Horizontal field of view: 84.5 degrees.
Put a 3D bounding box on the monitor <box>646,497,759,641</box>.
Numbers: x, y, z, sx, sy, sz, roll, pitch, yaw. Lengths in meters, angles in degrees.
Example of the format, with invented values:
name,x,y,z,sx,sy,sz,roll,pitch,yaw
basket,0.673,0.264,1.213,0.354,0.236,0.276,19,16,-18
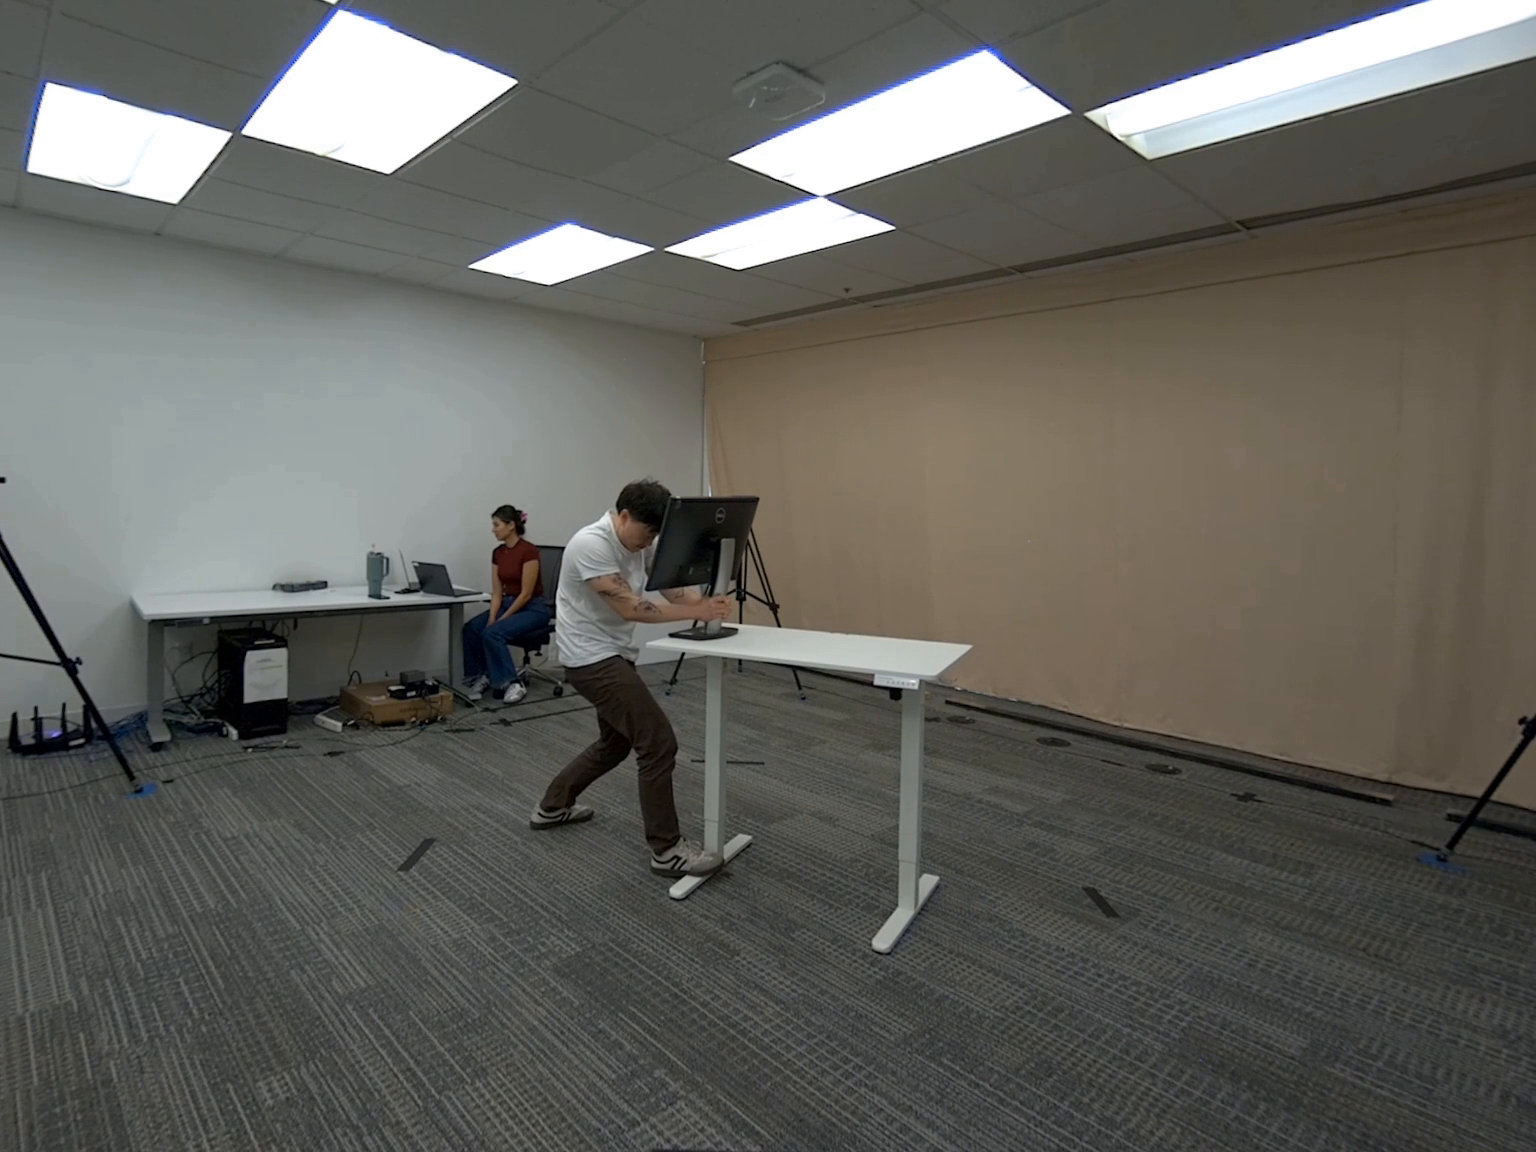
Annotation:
name,x,y,z,sx,sy,sz,roll,pitch,yaw
monitor,-0.221,-0.035,3.106,0.191,0.520,0.529,8,8,31
